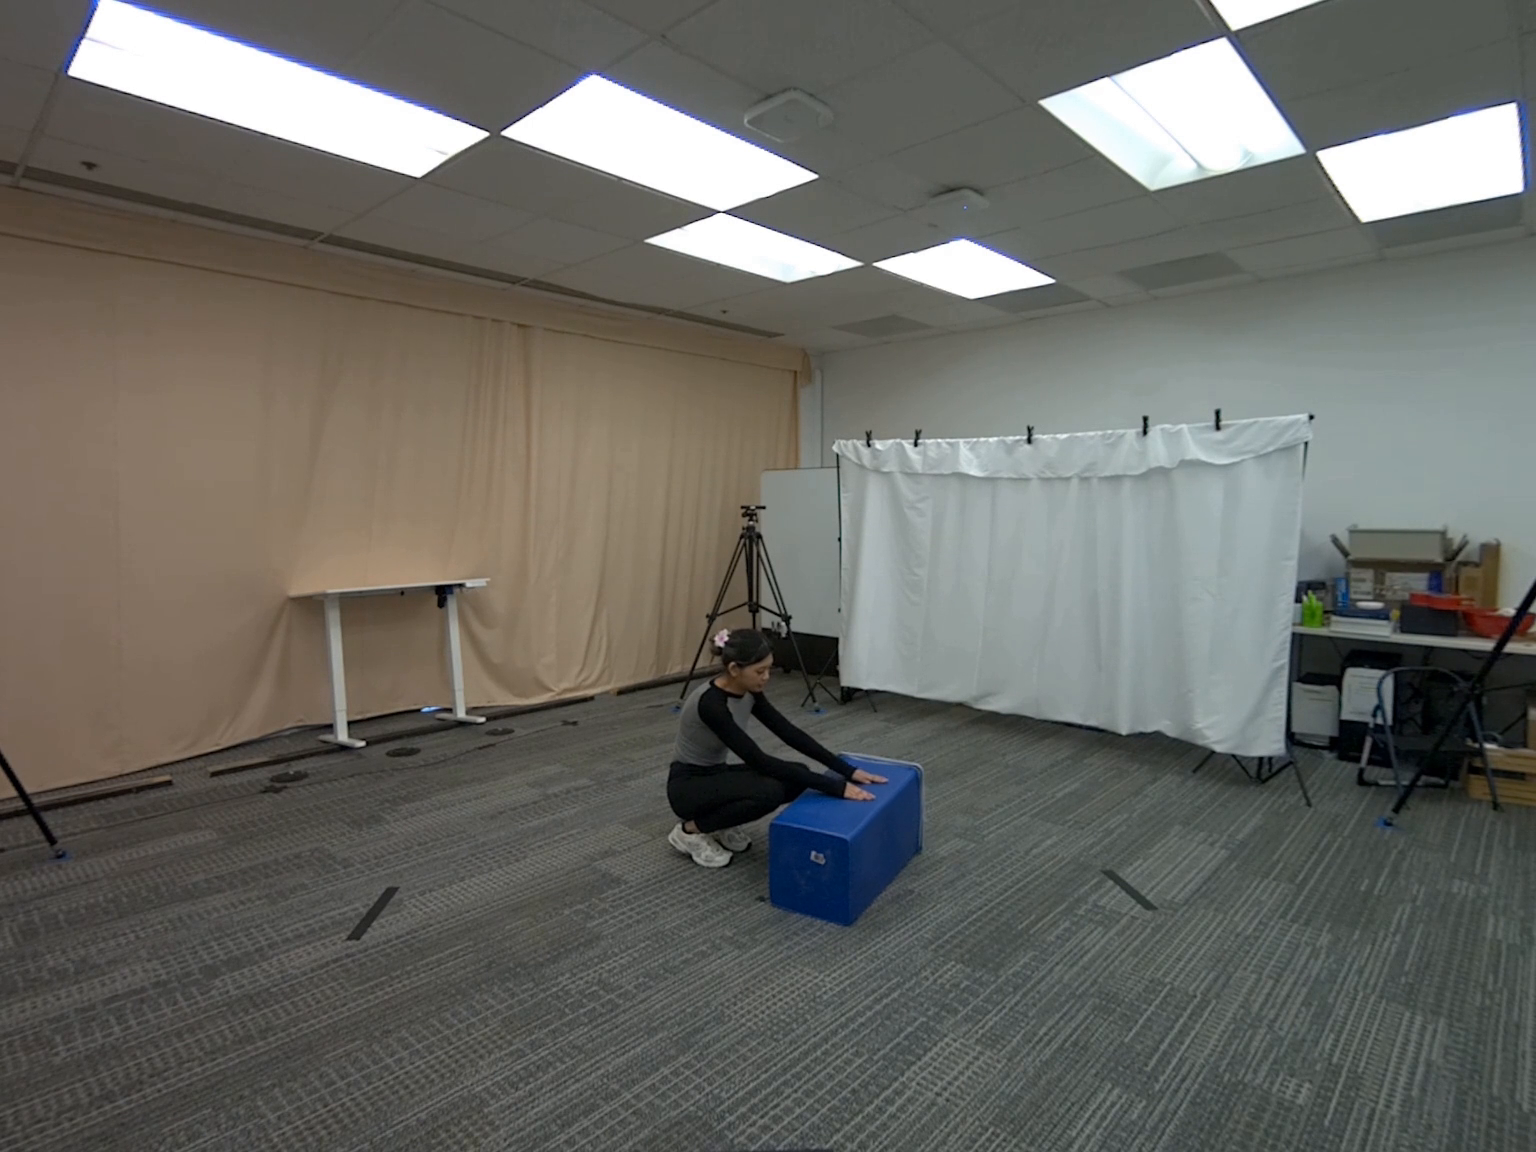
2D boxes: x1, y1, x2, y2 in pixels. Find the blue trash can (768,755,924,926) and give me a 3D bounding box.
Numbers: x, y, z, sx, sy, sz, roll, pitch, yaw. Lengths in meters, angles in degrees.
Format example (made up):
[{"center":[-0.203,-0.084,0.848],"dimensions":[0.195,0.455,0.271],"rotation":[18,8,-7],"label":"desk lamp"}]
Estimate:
[{"center":[0.298,0.961,3.143],"dimensions":[0.385,0.376,0.696],"rotation":[3,8,28],"label":"blue trash can"}]
